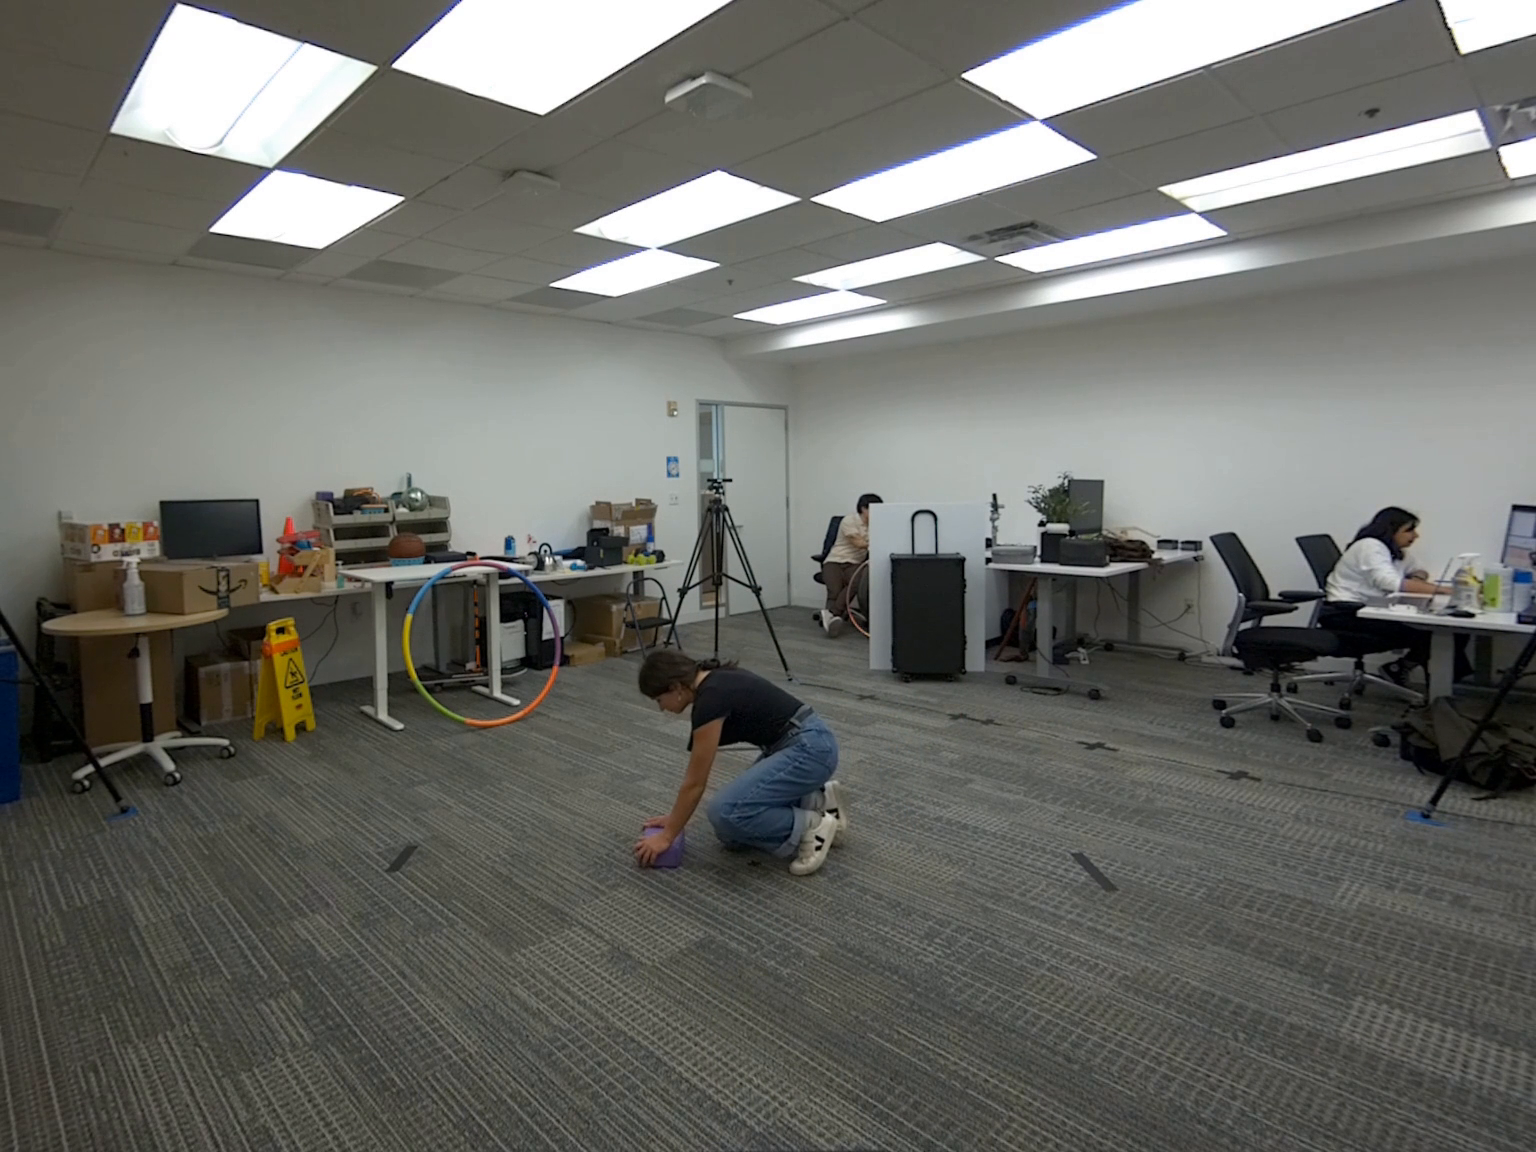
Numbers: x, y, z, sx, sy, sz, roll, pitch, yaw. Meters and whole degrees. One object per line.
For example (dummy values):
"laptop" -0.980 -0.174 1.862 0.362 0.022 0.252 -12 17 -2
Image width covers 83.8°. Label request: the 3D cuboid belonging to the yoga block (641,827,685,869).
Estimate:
"yoga block" -0.395 1.011 3.198 0.149 0.076 0.229 -1 6 3
